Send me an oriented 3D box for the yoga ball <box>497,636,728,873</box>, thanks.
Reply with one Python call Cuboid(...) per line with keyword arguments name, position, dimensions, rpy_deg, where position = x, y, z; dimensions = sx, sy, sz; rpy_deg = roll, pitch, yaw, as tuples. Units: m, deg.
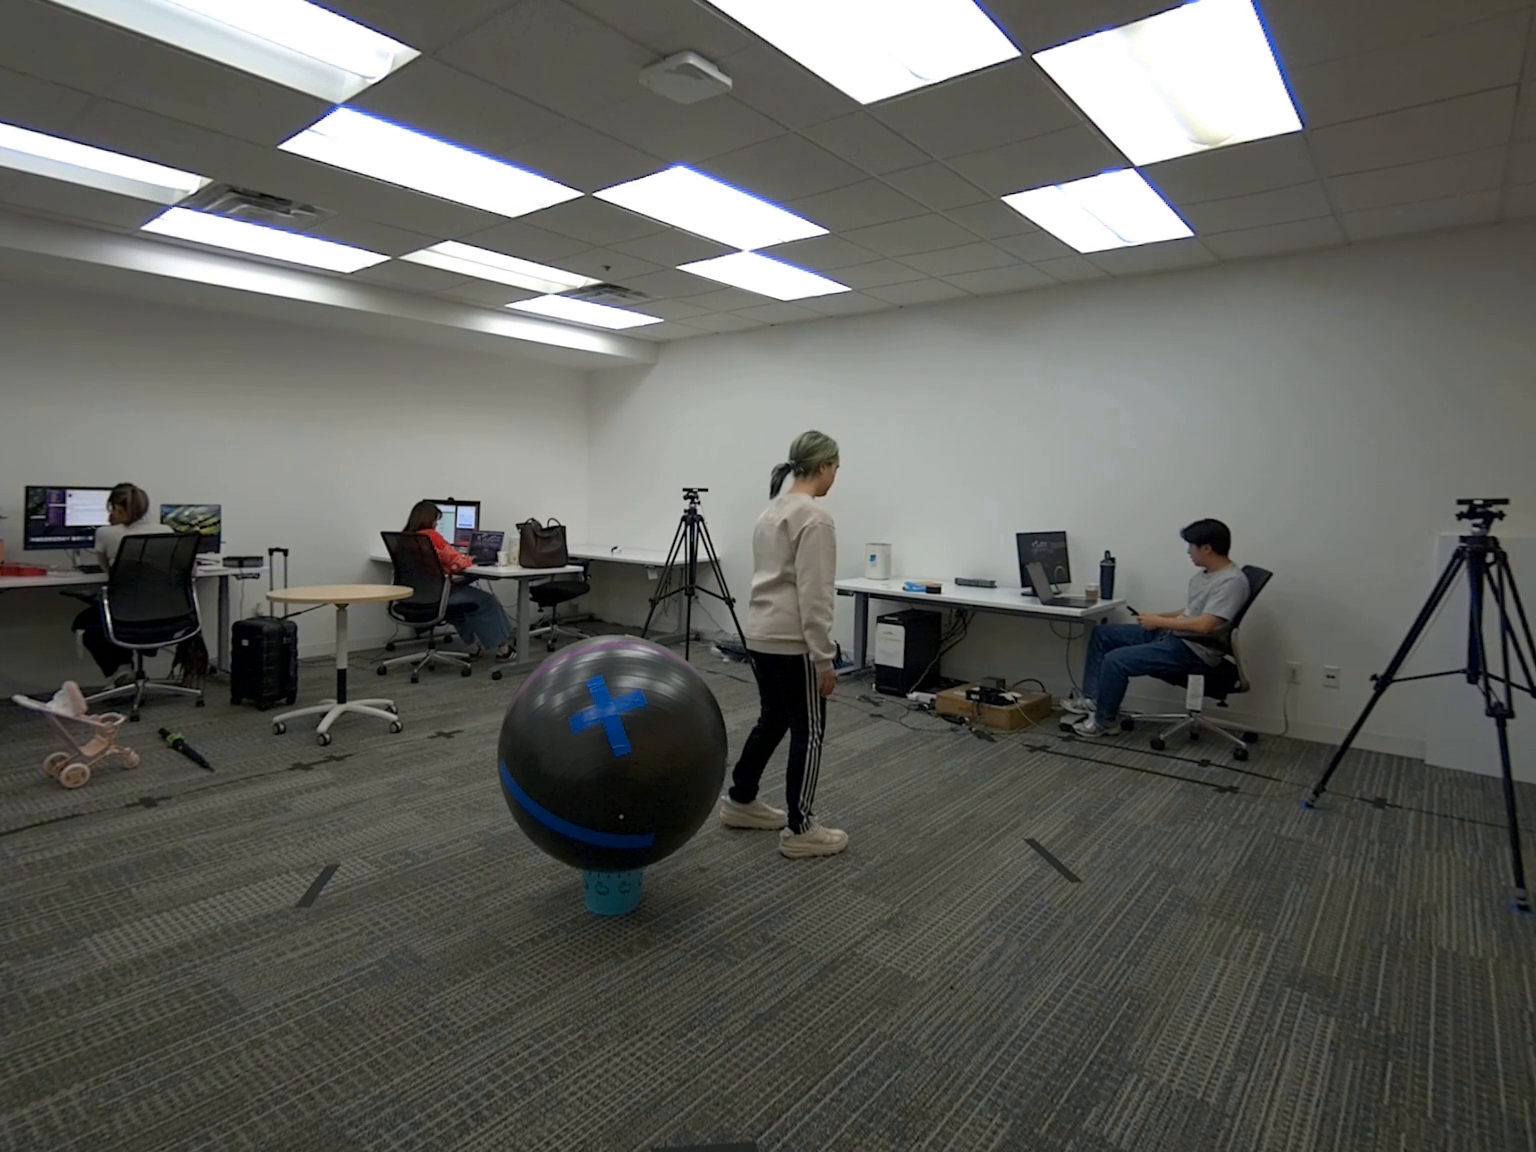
Cuboid(name="yoga ball", position=(-0.521, 0.582, 2.830), dimensions=(0.757, 0.755, 0.762), rpy_deg=(1, 4, -2))
